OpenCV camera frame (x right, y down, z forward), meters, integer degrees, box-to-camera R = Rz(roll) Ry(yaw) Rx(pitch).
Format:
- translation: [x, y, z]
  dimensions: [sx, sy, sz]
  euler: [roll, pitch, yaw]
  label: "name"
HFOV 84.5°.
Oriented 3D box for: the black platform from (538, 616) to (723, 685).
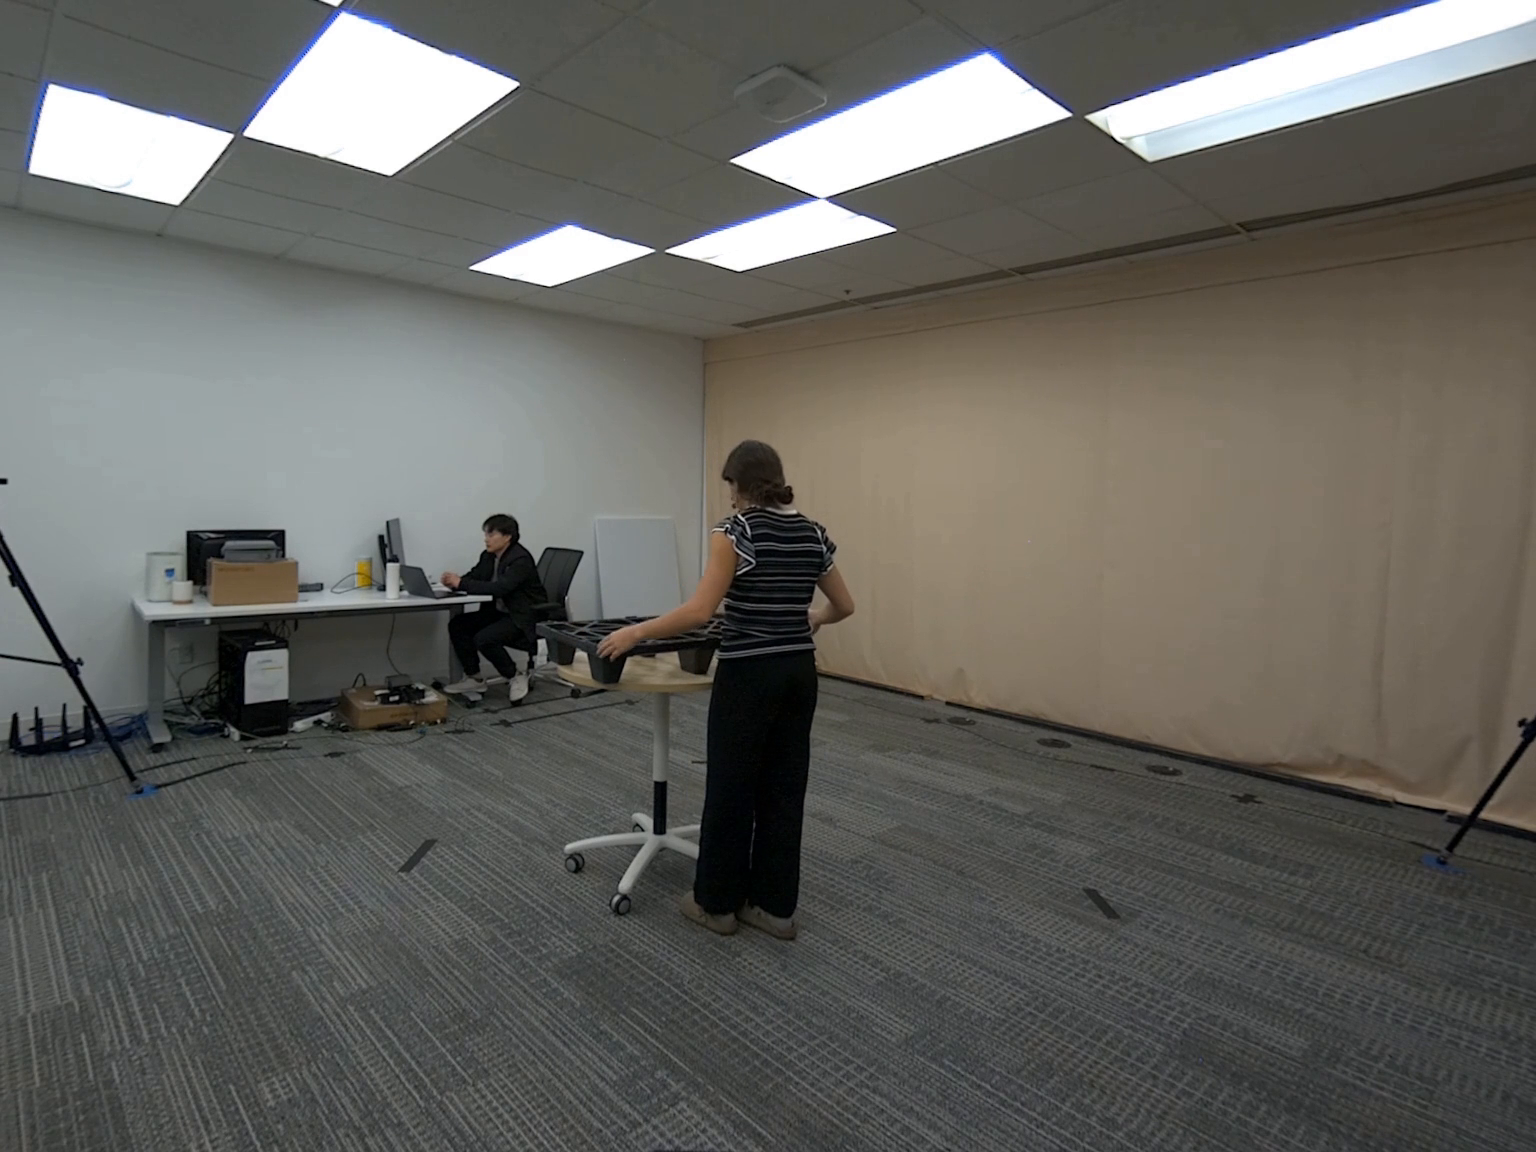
- translation: [-0.379, 0.254, 3.086]
  dimensions: [0.788, 0.143, 0.620]
  euler: [-2, 5, -35]
  label: "black platform"
